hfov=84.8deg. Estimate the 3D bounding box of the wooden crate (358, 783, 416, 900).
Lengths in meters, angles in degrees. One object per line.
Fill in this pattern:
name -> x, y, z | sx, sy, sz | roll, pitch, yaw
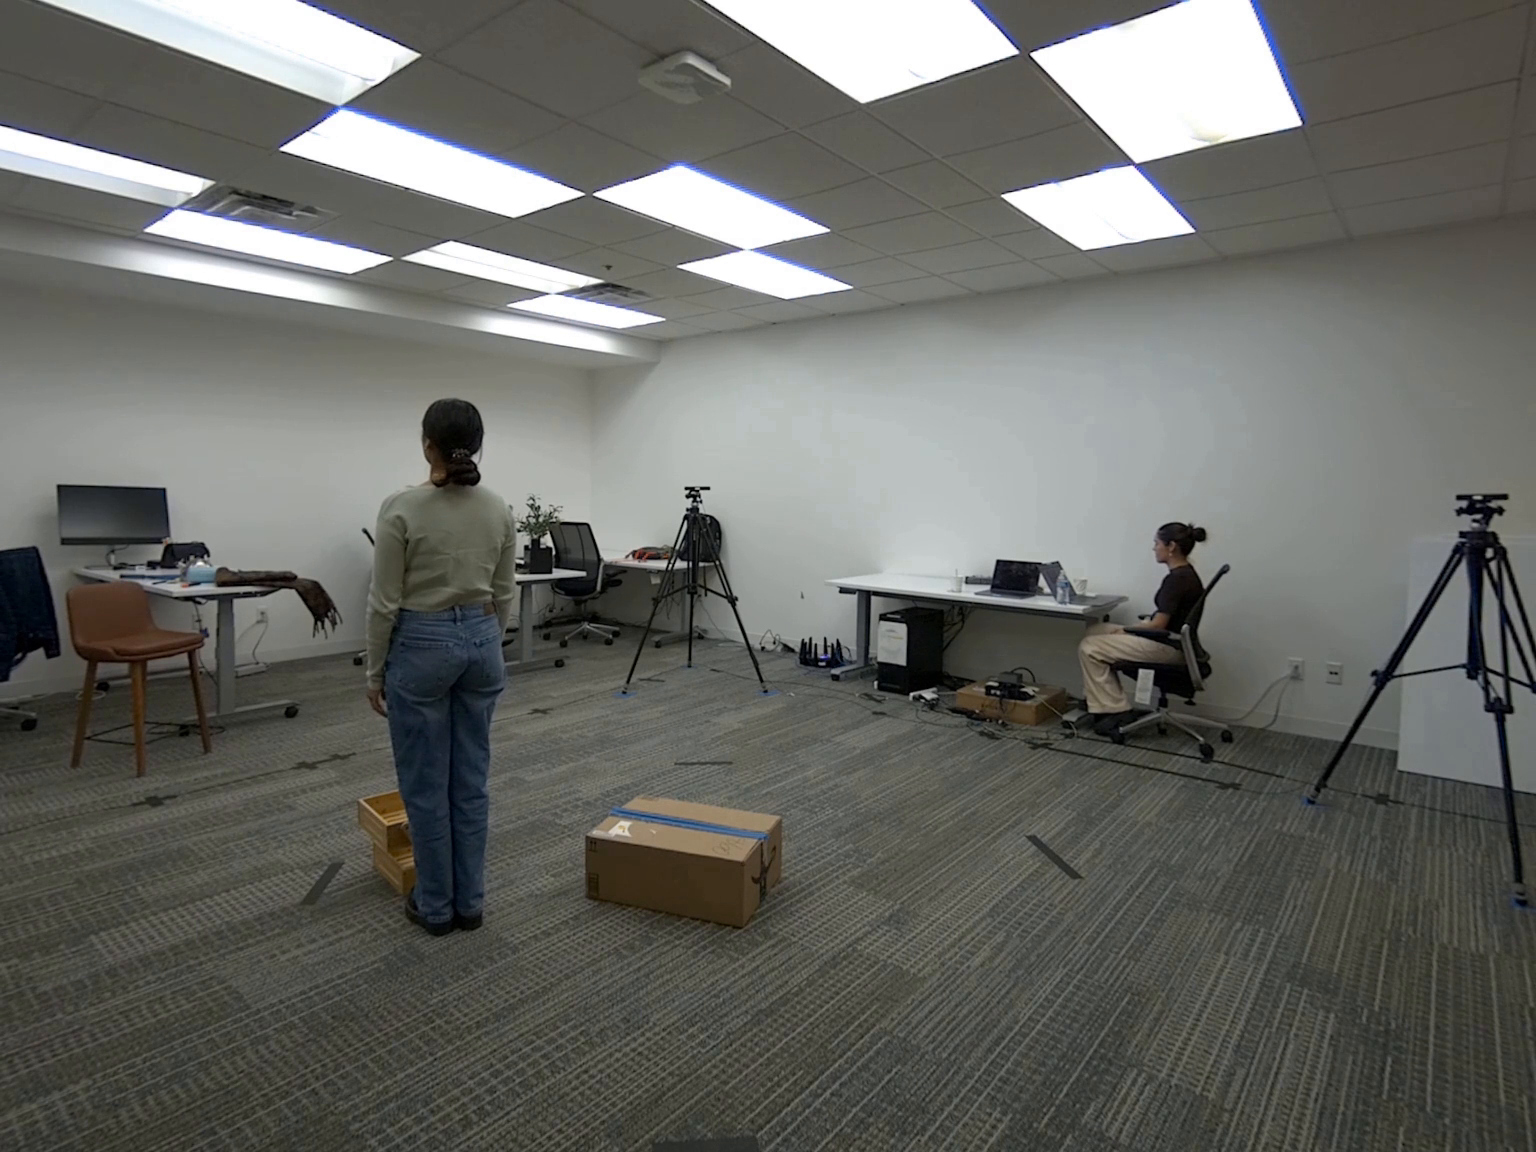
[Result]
wooden crate -> -1.262, 0.919, 3.026 | 0.293, 0.272, 0.335 | -5, 7, -42
